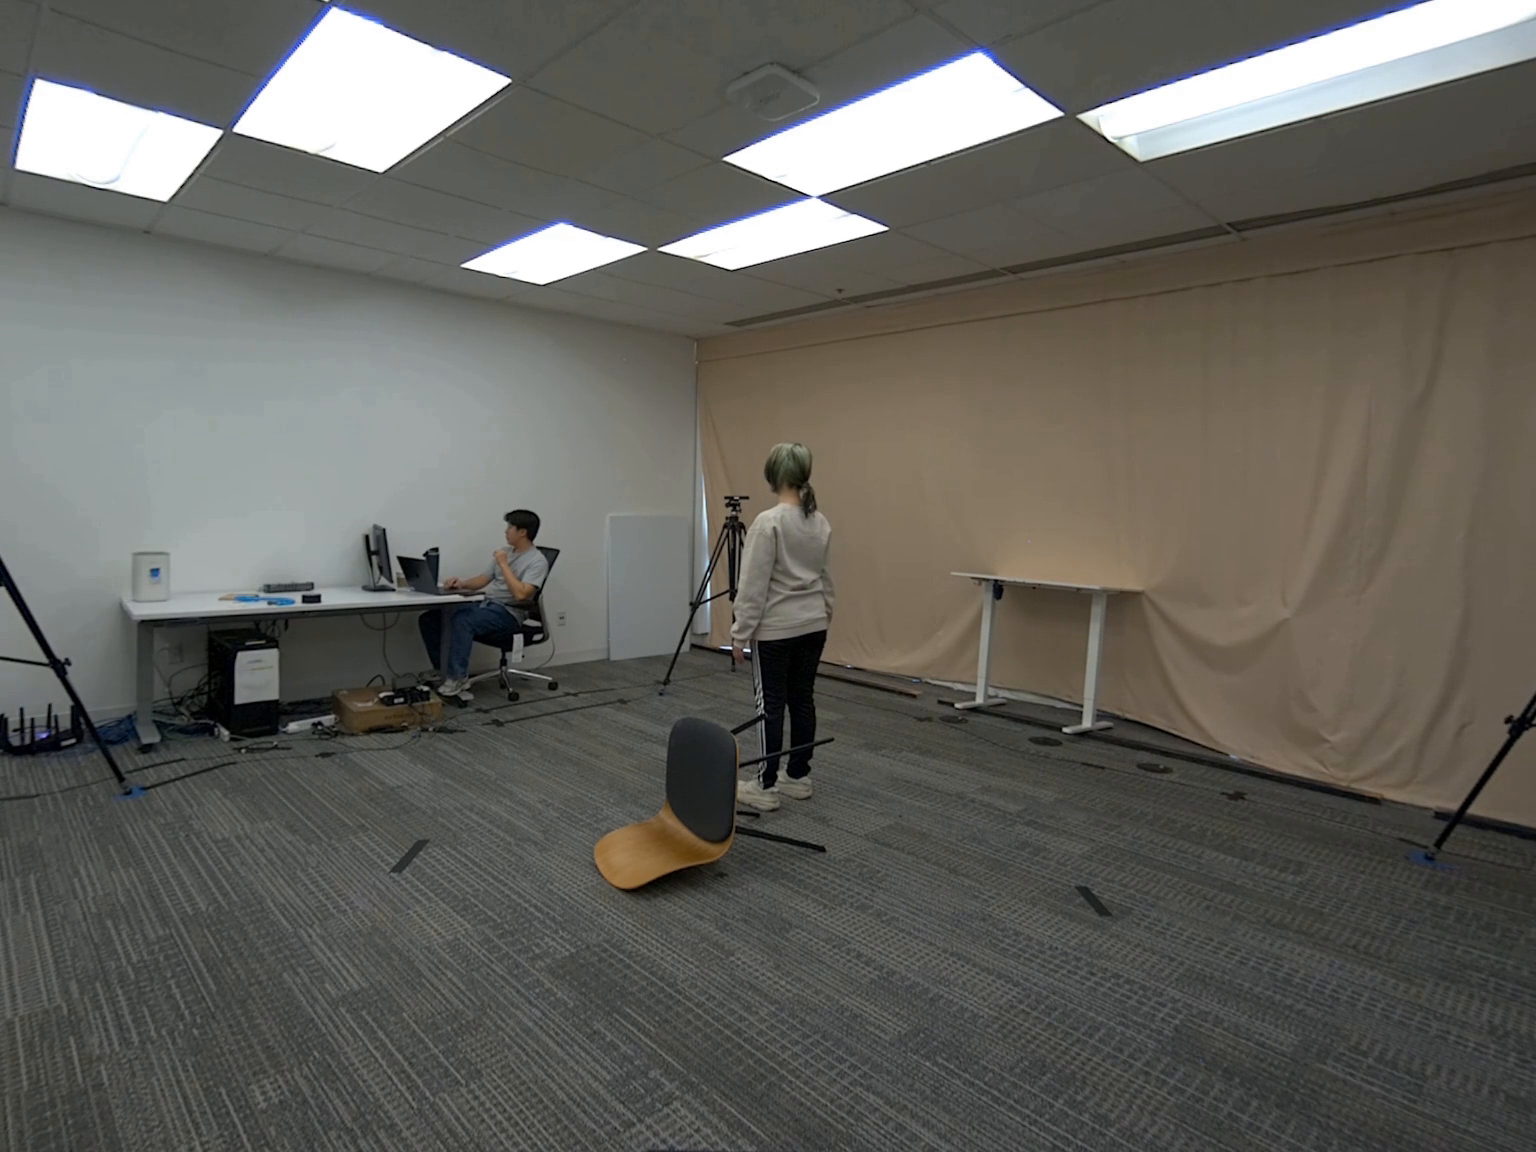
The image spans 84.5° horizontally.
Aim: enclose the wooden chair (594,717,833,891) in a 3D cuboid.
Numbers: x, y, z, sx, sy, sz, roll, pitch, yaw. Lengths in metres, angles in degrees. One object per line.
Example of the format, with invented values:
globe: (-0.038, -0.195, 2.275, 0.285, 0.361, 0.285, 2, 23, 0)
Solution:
wooden chair: (-0.234, 0.831, 3.263, 0.858, 0.521, 0.490, -3, 5, -36)
